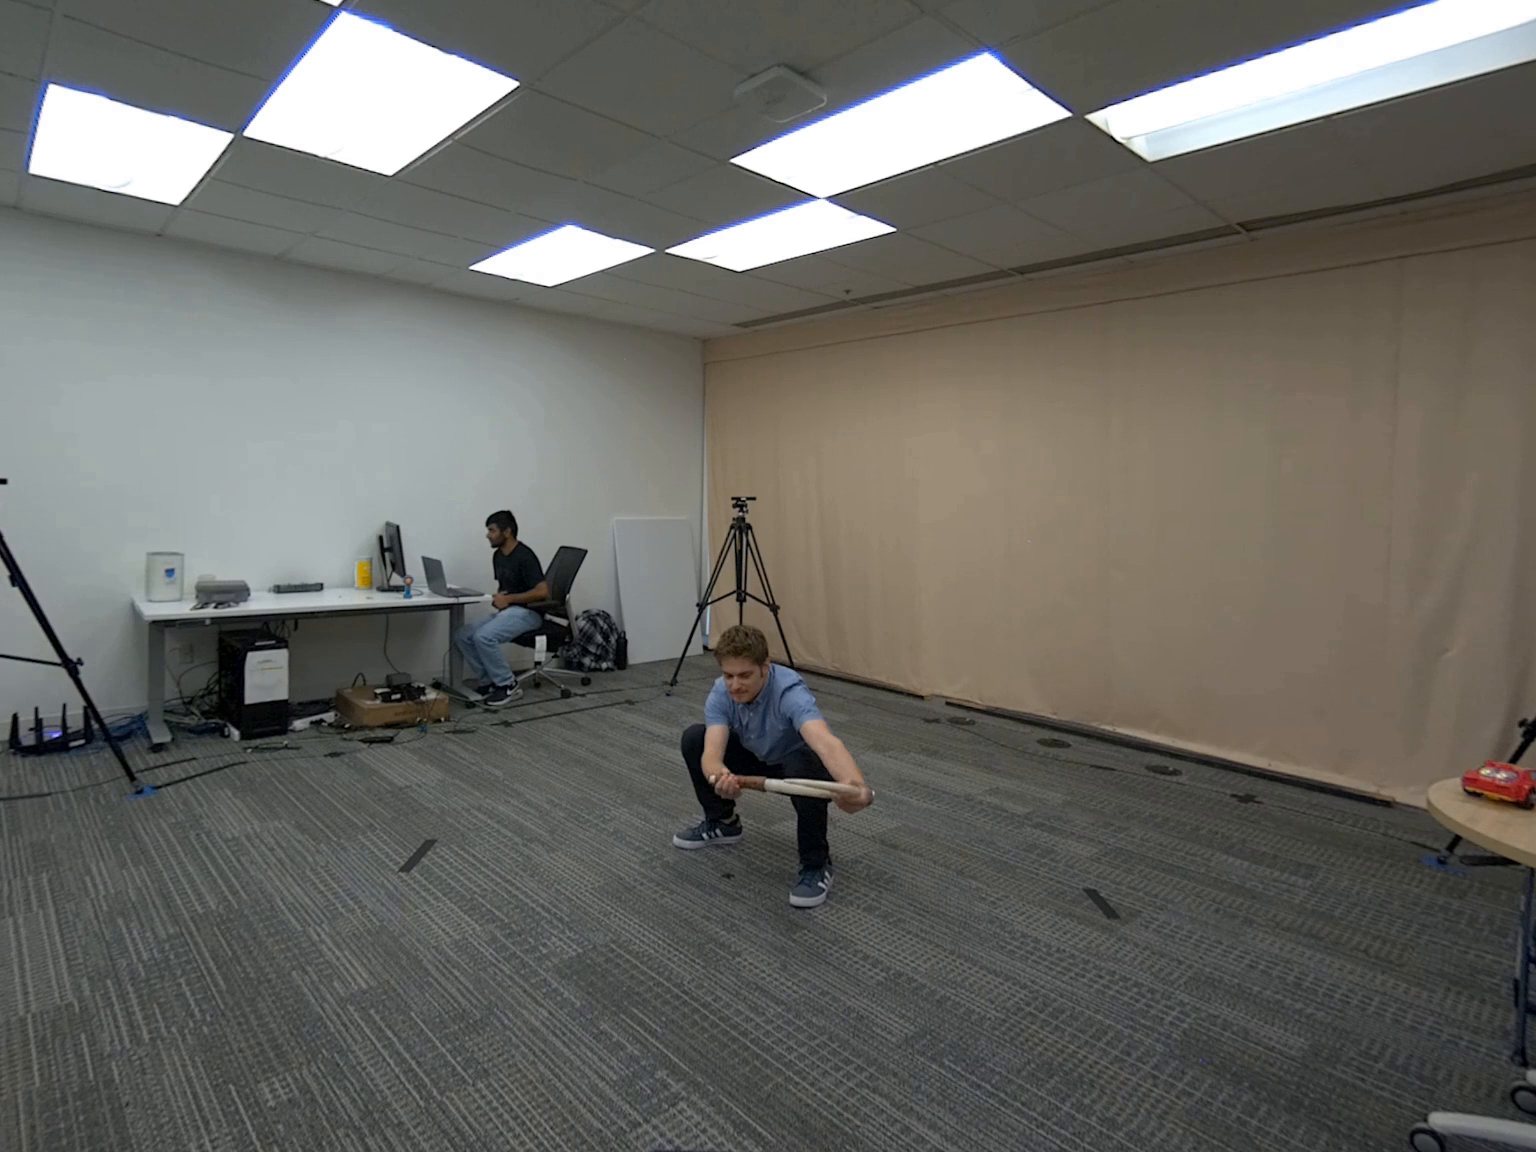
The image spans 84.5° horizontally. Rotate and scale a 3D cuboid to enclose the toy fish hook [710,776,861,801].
[{"bbox_3d":[0.023,0.632,2.533,0.514,0.049,0.218,-2,-24,21],"label":"toy fish hook"}]
